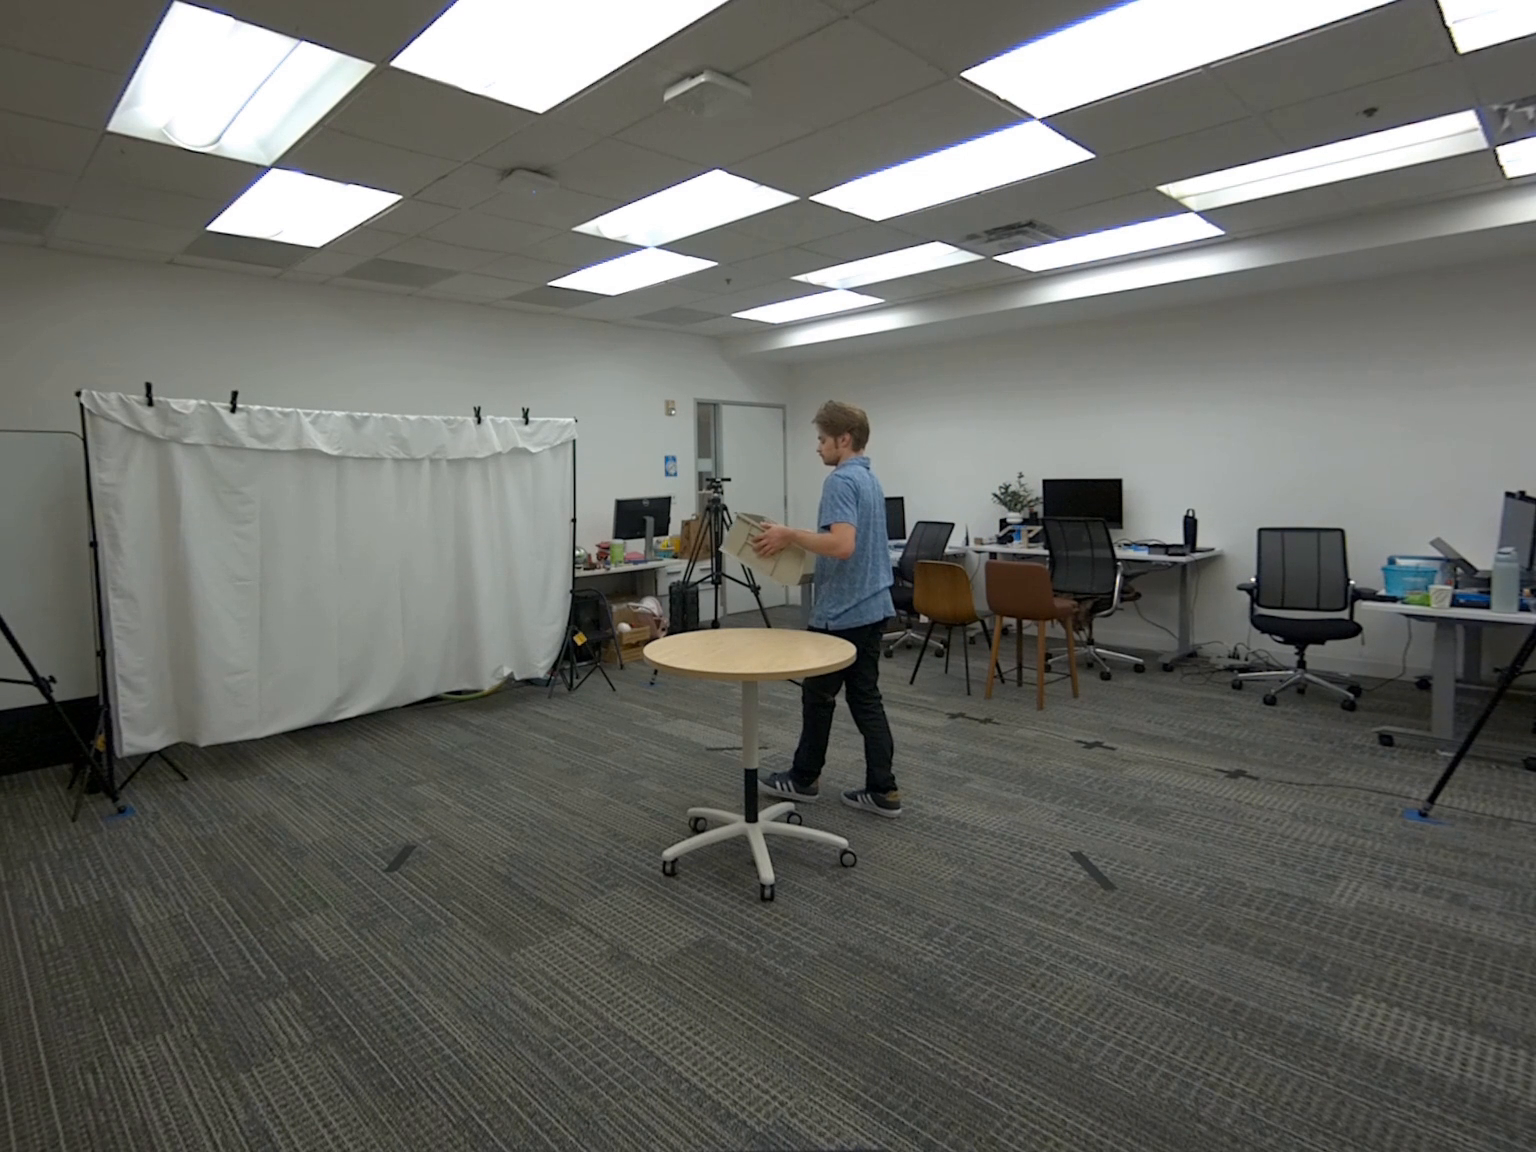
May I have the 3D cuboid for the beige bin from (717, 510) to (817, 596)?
[{"bbox_3d":[0.045,-0.107,3.718,0.385,0.188,0.415,30,9,15],"label":"beige bin"}]
